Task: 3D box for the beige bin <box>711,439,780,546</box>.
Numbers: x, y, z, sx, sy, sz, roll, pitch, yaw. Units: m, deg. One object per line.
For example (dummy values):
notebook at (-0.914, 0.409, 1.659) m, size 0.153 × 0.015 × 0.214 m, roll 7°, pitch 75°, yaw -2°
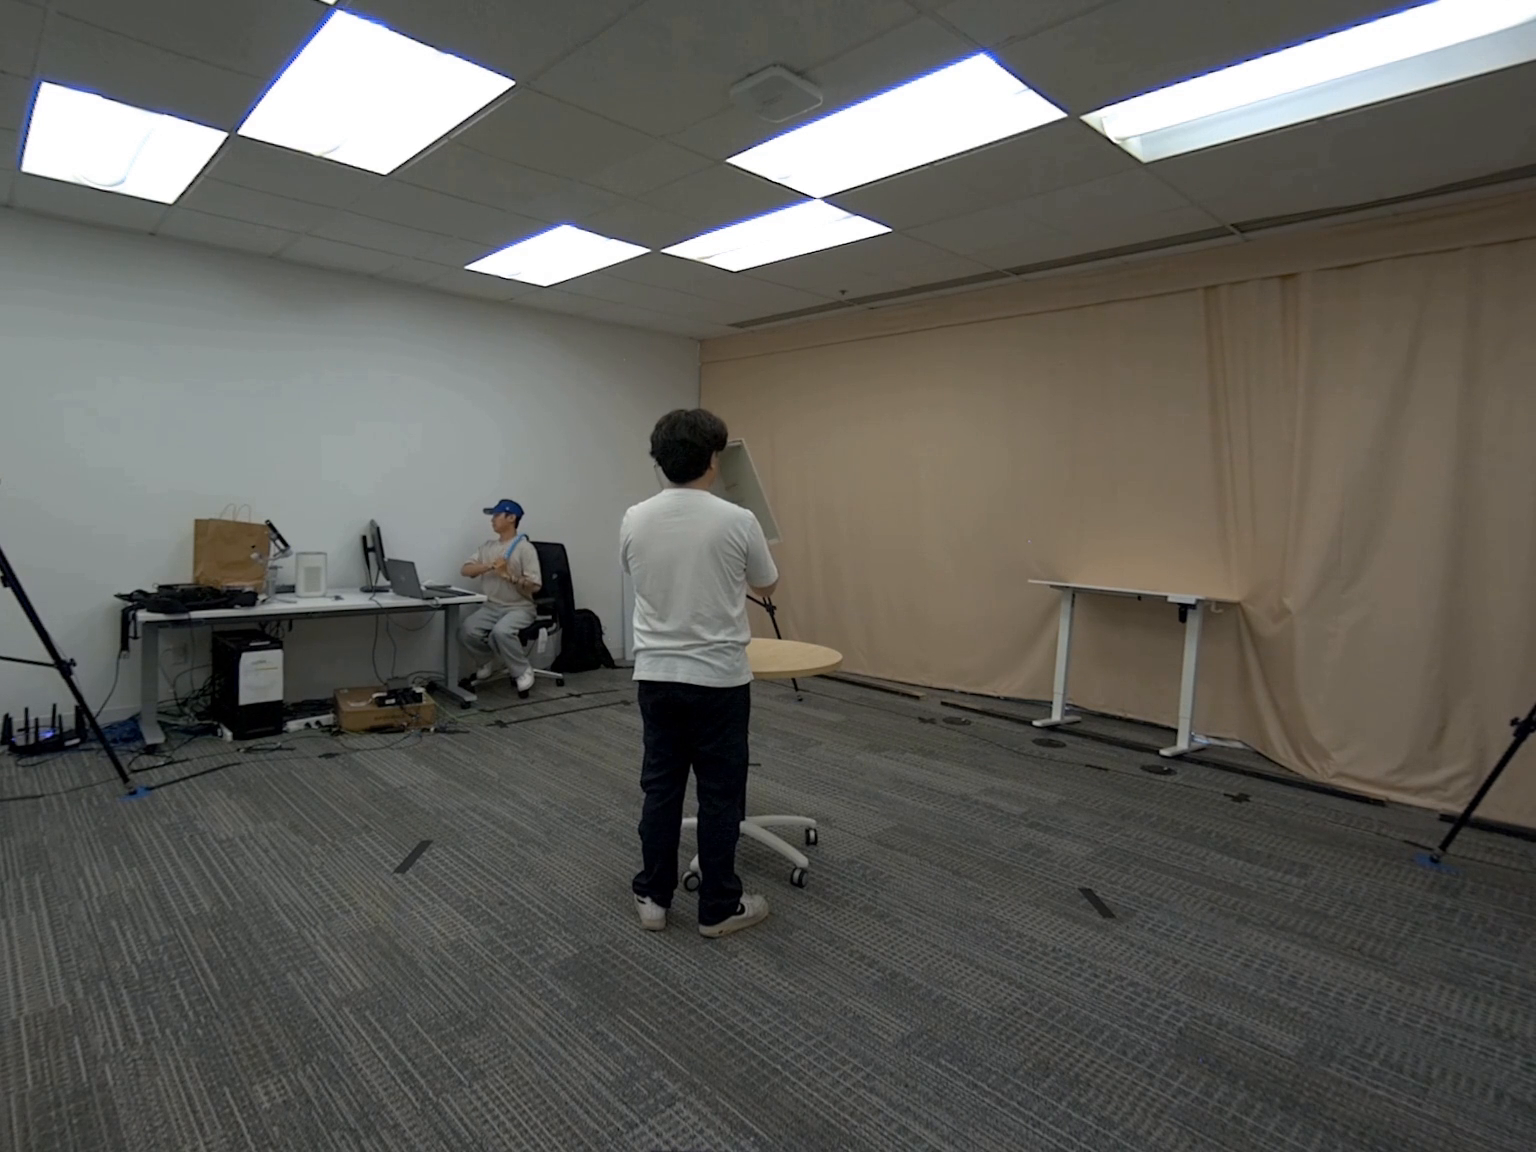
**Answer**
beige bin at (-0.198, -0.264, 3.120) m, size 0.191 × 0.424 × 0.371 m, roll -24°, pitch -3°, yaw 40°
